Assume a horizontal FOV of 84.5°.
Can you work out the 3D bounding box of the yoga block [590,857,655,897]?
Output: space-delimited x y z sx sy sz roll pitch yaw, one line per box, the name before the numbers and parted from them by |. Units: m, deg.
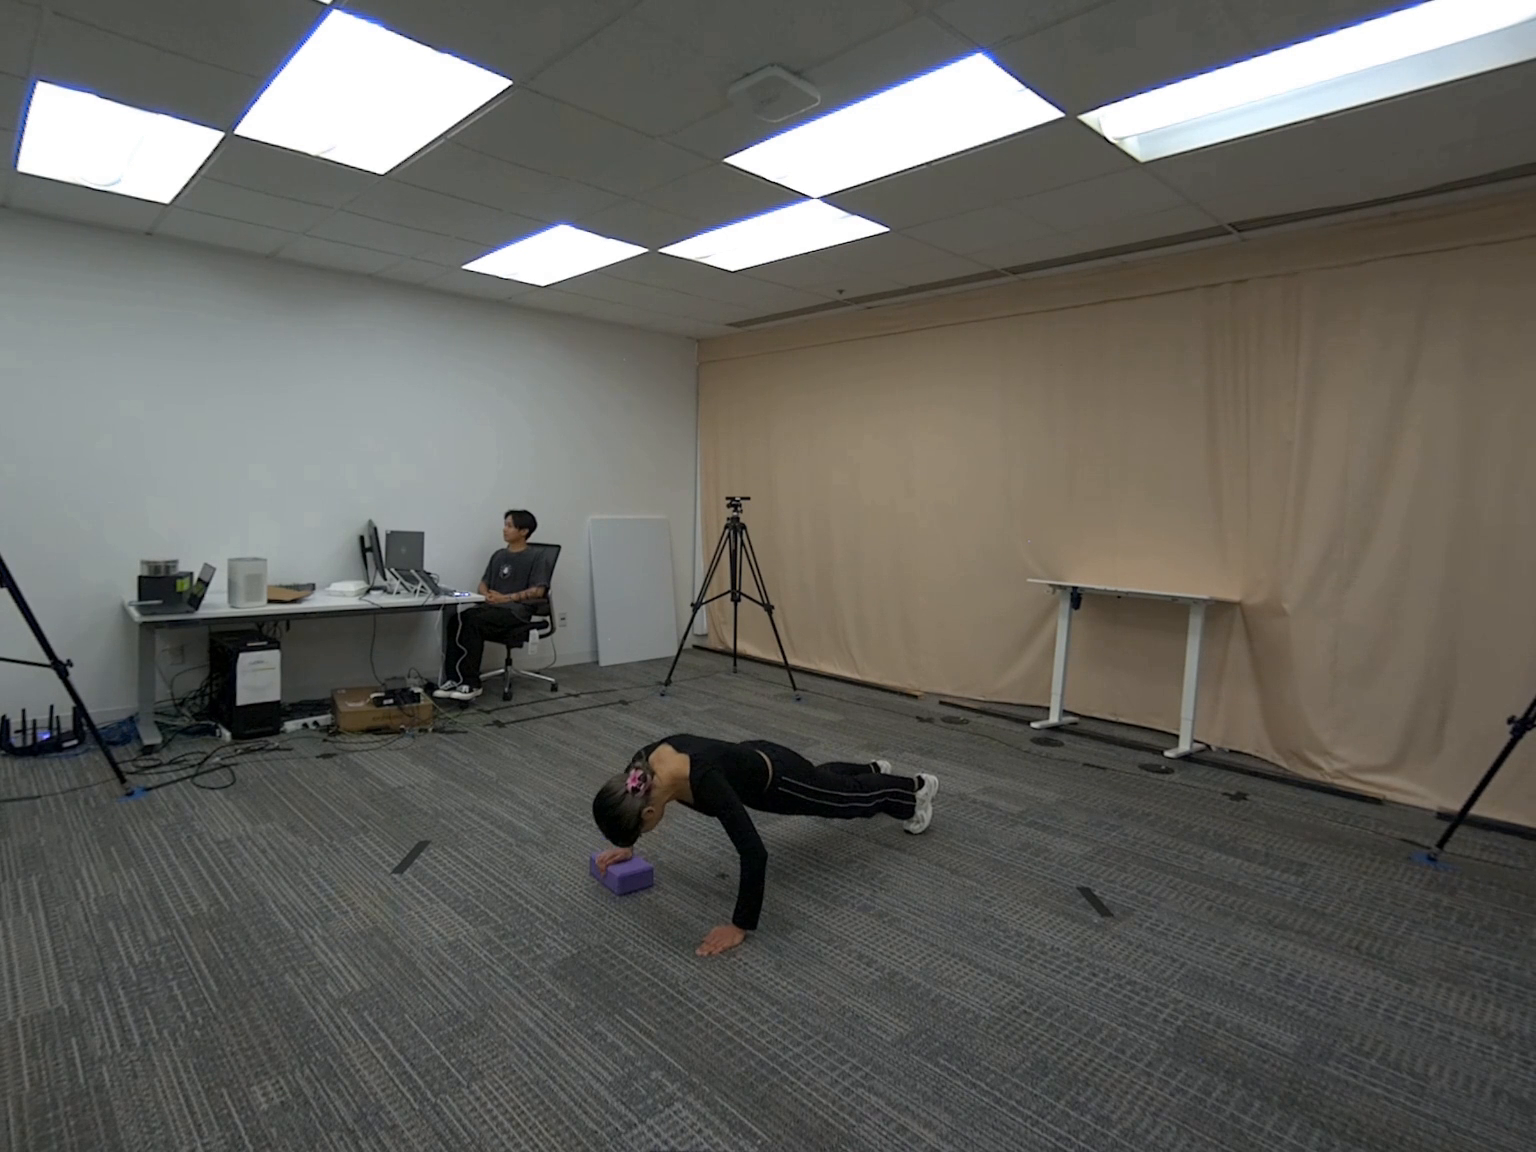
yoga block | -0.538 1.067 3.049 0.146 0.076 0.235 -2 5 -37
